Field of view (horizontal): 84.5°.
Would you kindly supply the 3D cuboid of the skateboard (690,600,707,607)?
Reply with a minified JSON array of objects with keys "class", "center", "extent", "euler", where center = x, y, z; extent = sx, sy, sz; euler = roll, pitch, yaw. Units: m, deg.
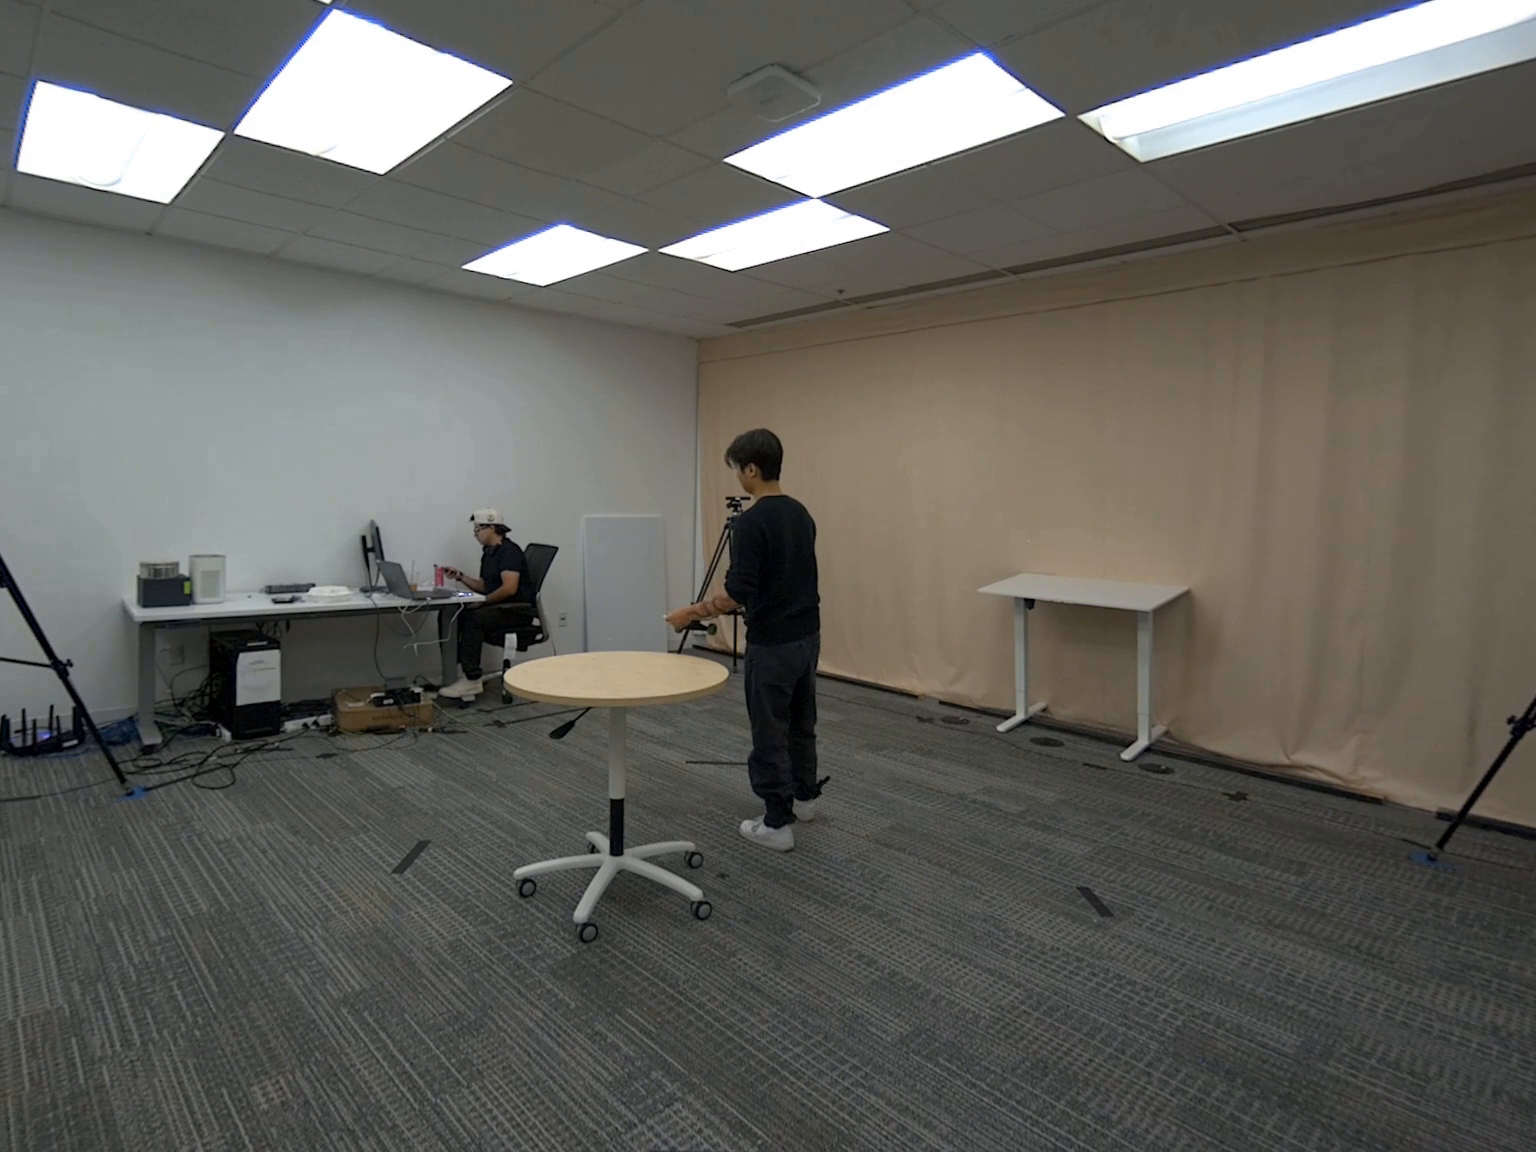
[{"class":"skateboard","center":[-0.236,0.173,3.717],"extent":[0.196,0.110,0.776],"euler":[1,6,19]}]
